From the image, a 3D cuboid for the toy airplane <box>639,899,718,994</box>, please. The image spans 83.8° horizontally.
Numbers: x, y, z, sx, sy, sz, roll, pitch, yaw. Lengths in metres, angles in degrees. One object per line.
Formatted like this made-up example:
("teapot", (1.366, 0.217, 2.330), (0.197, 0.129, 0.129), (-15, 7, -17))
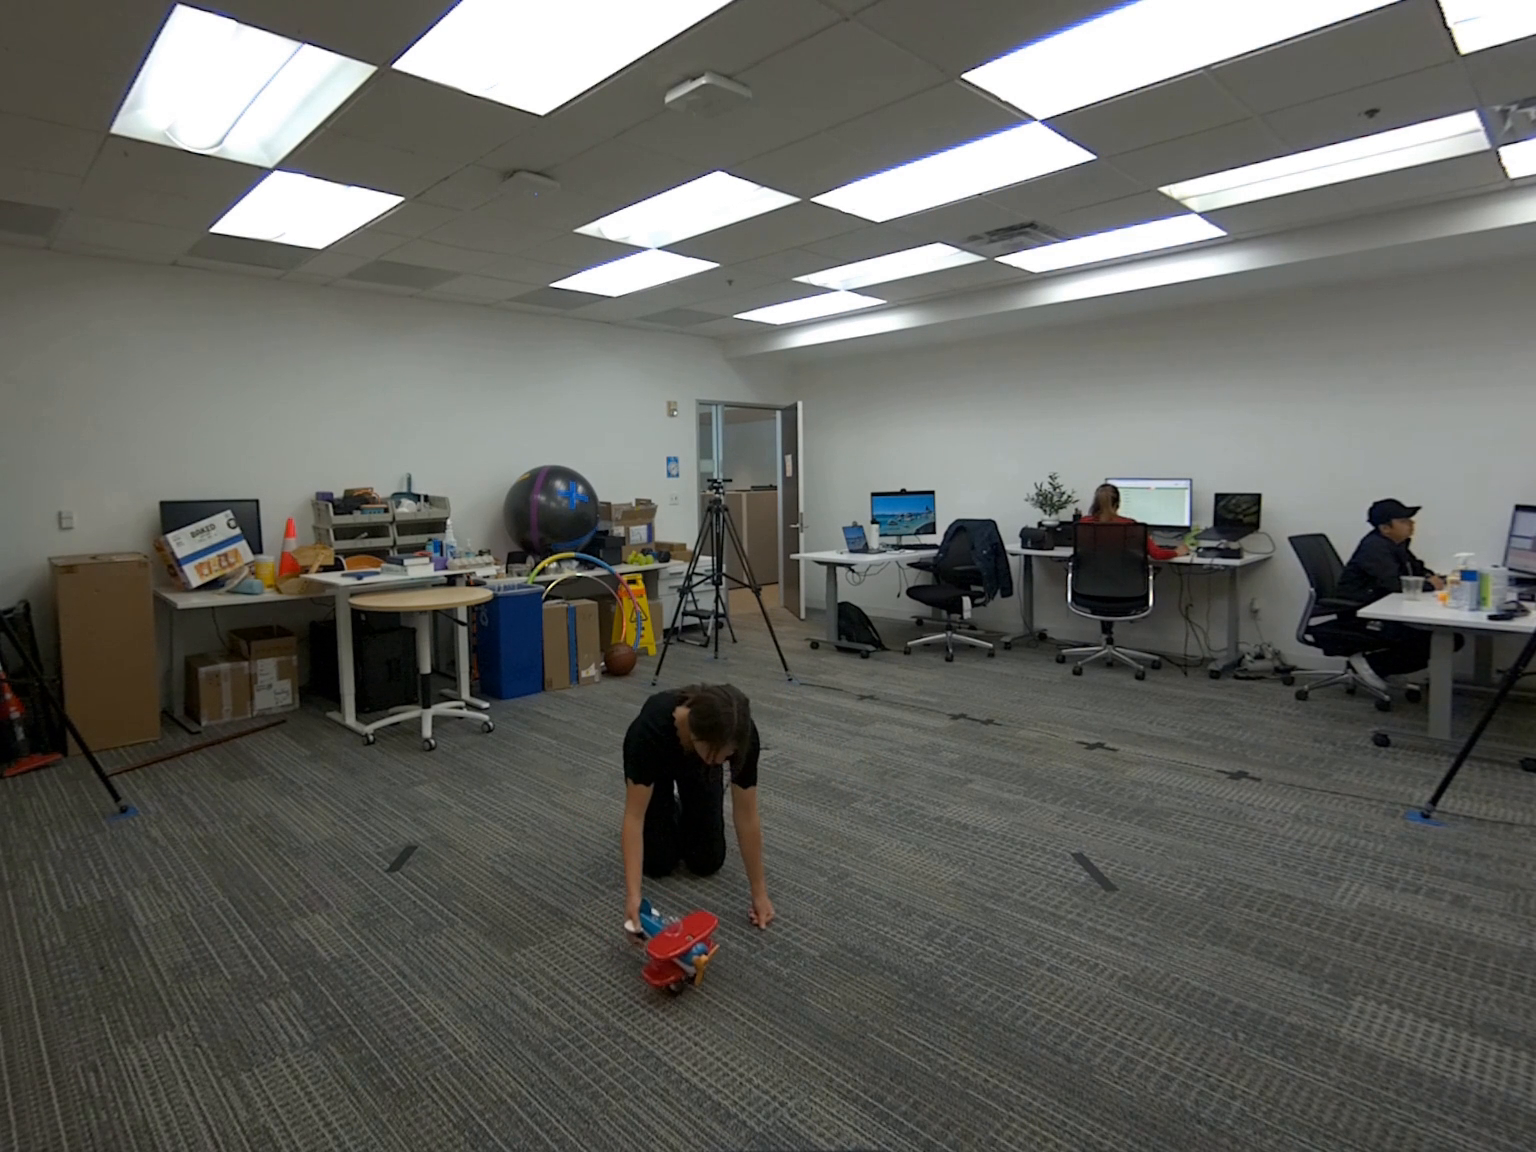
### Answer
("toy airplane", (-0.275, 1.038, 2.369), (0.260, 0.155, 0.252), (23, 21, 2))
